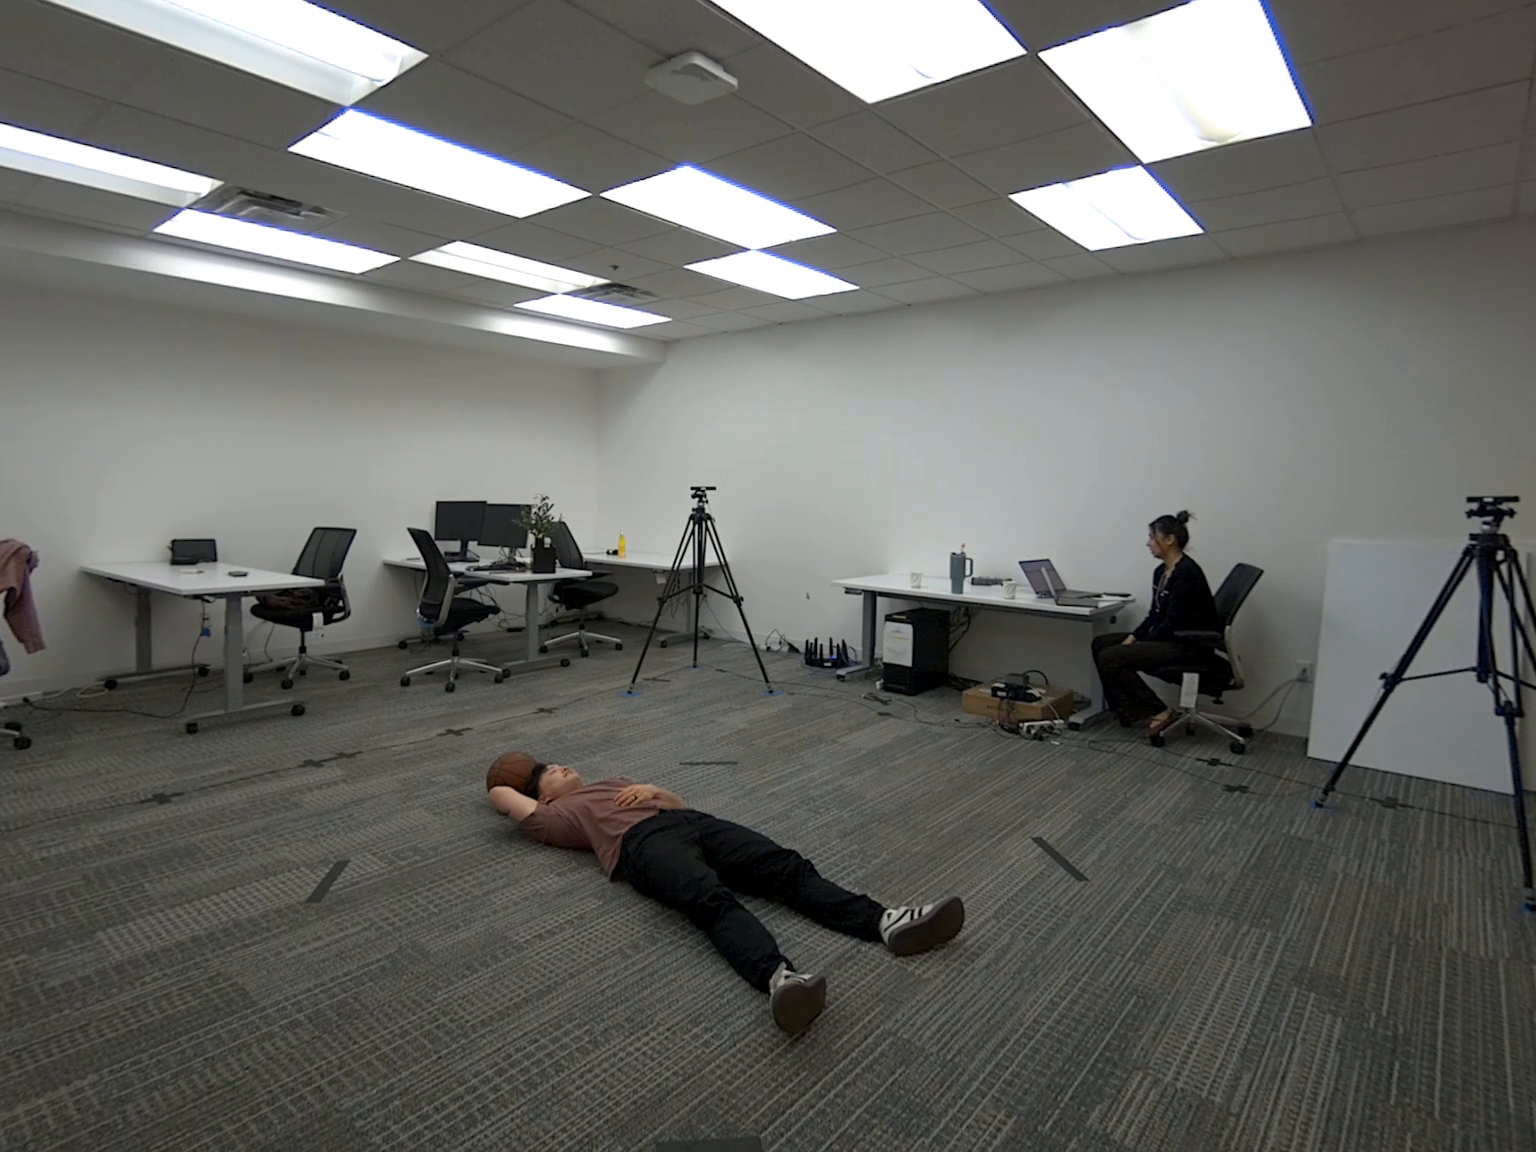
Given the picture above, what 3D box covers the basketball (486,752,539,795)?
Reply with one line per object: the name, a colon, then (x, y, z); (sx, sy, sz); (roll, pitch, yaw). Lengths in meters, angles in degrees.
basketball: (-1.106, 0.871, 3.666); (0.235, 0.235, 0.237); (1, 5, -2)
